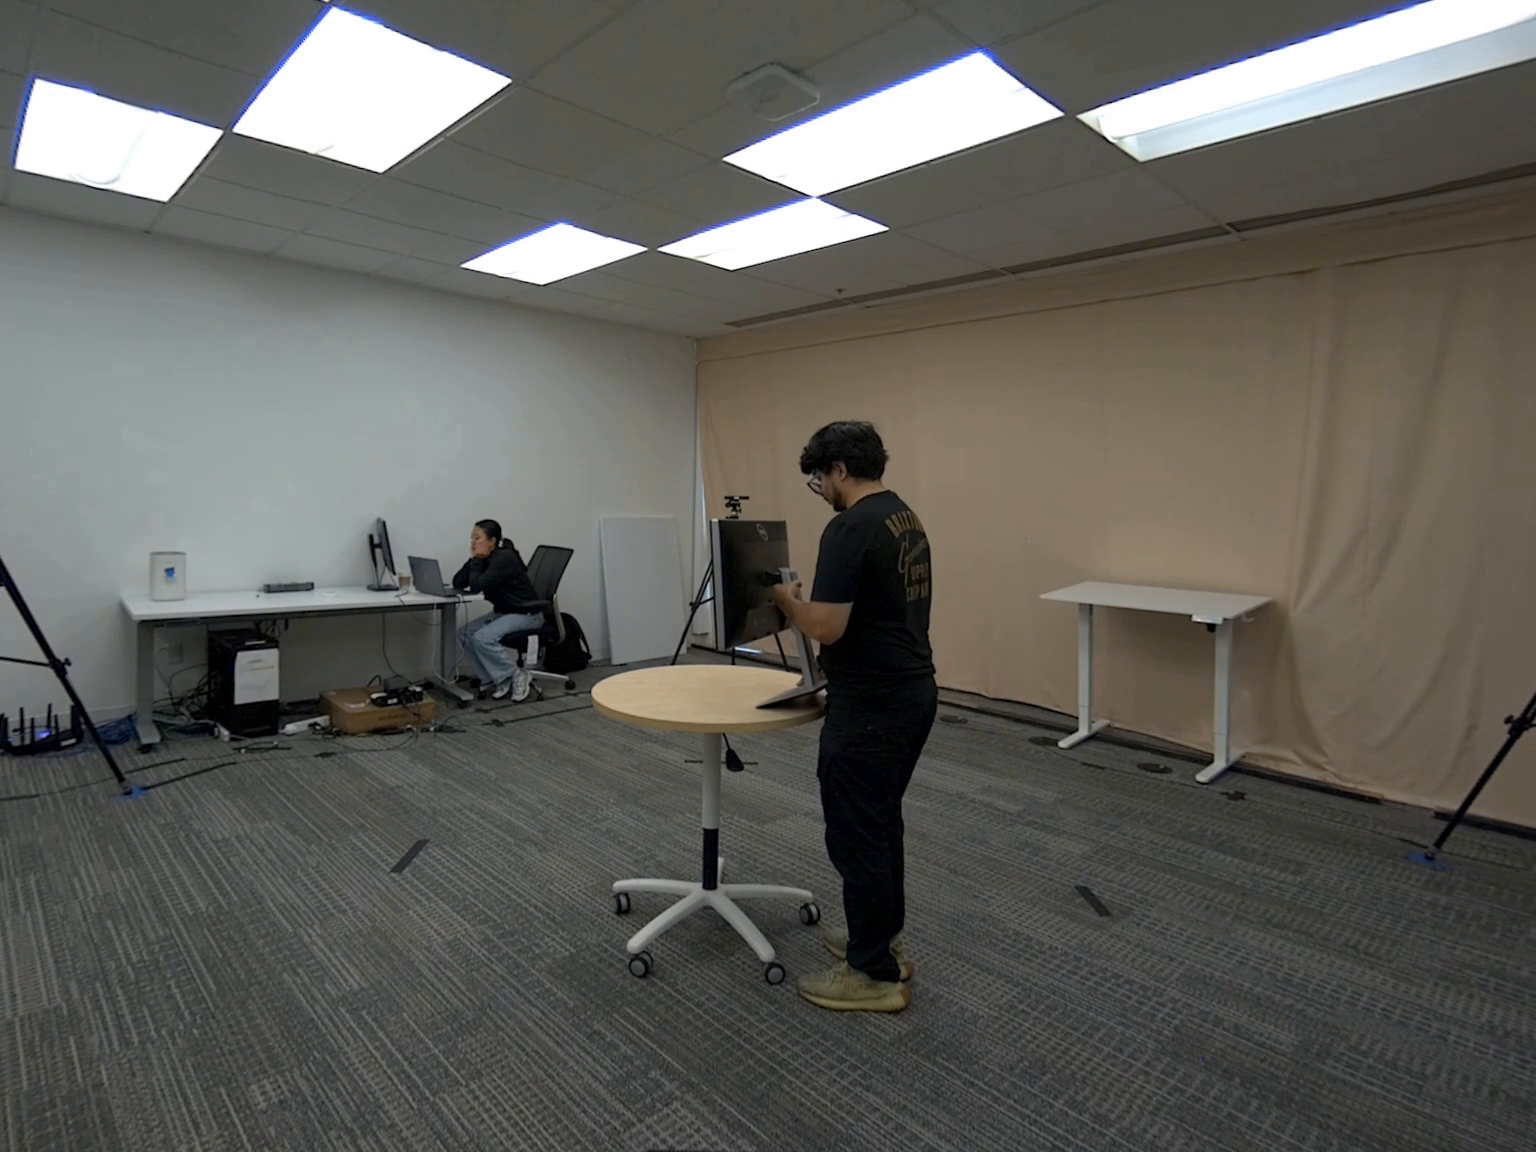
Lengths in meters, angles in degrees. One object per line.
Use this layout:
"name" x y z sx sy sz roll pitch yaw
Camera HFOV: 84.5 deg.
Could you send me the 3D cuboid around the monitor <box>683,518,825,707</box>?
"monitor" 0.037 0.091 2.529 0.213 0.555 0.556 -11 -2 23
